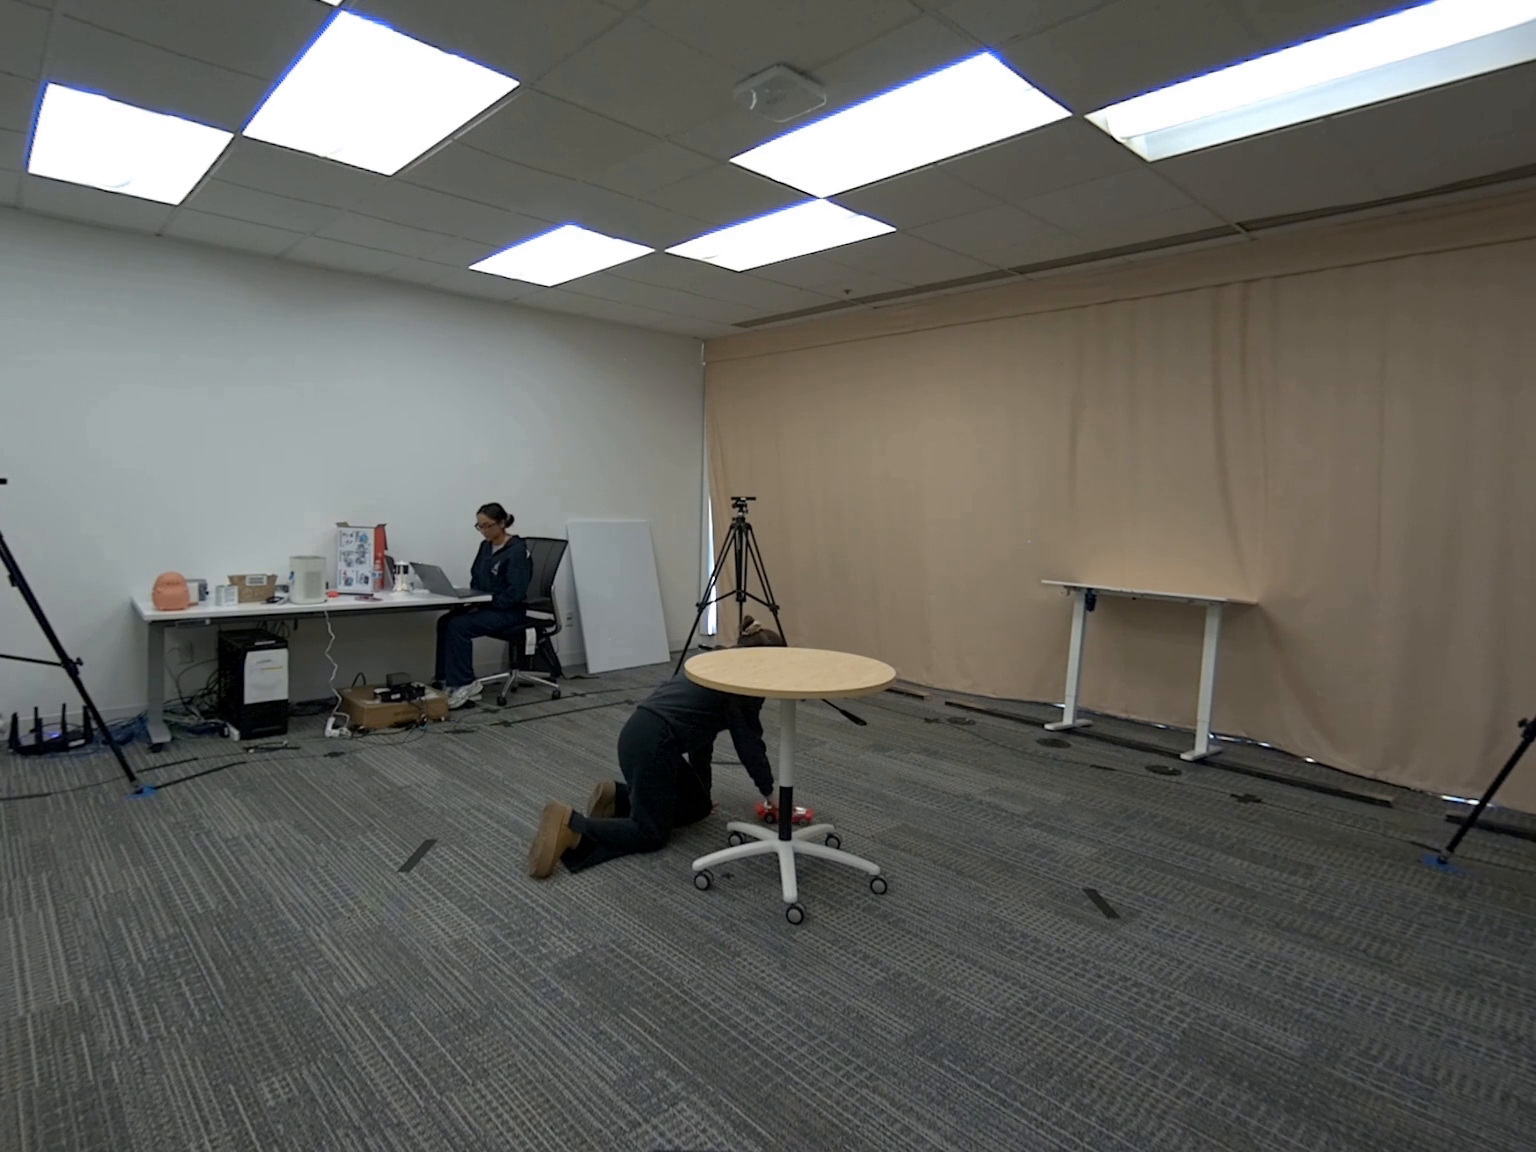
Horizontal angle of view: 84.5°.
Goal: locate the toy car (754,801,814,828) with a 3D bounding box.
[{"bbox_3d":[0.056,1.029,3.669,0.256,0.083,0.129,14,5,8],"label":"toy car"}]
